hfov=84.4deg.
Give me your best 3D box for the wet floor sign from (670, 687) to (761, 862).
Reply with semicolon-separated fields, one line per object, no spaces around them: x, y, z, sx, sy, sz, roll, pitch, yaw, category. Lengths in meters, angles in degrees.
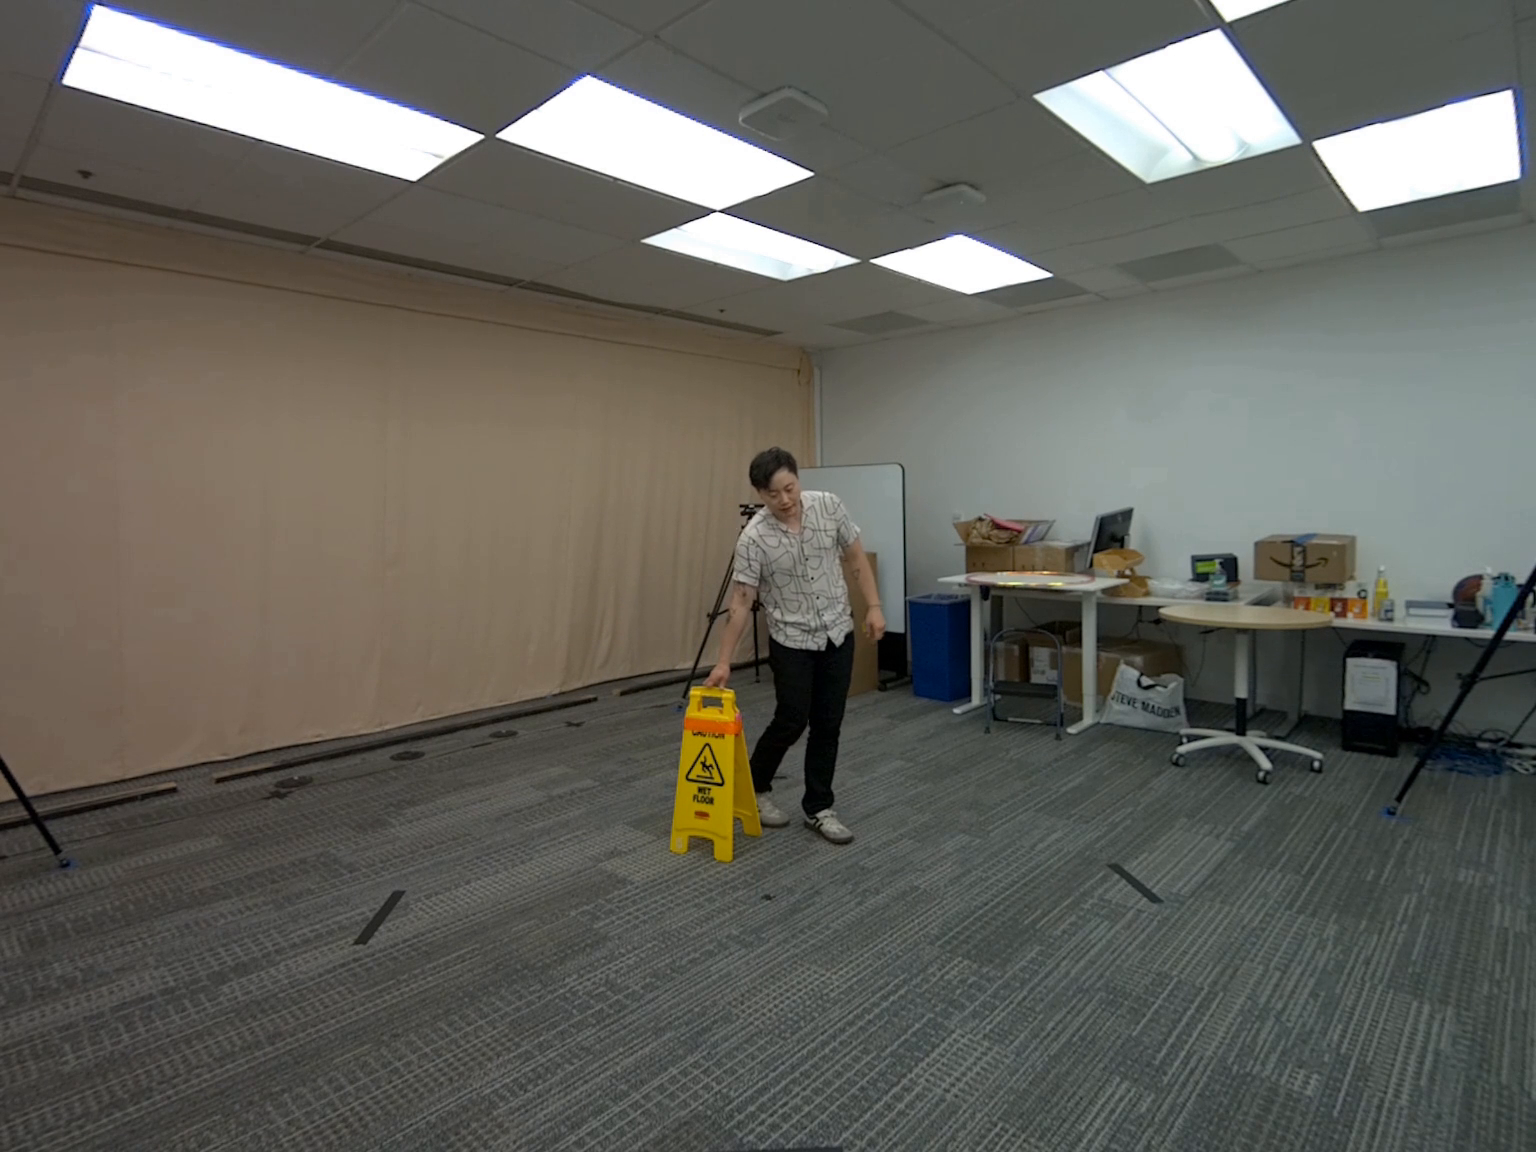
-0.218;0.779;3.453;0.289;0.644;0.283;-1;4;26;wet floor sign
